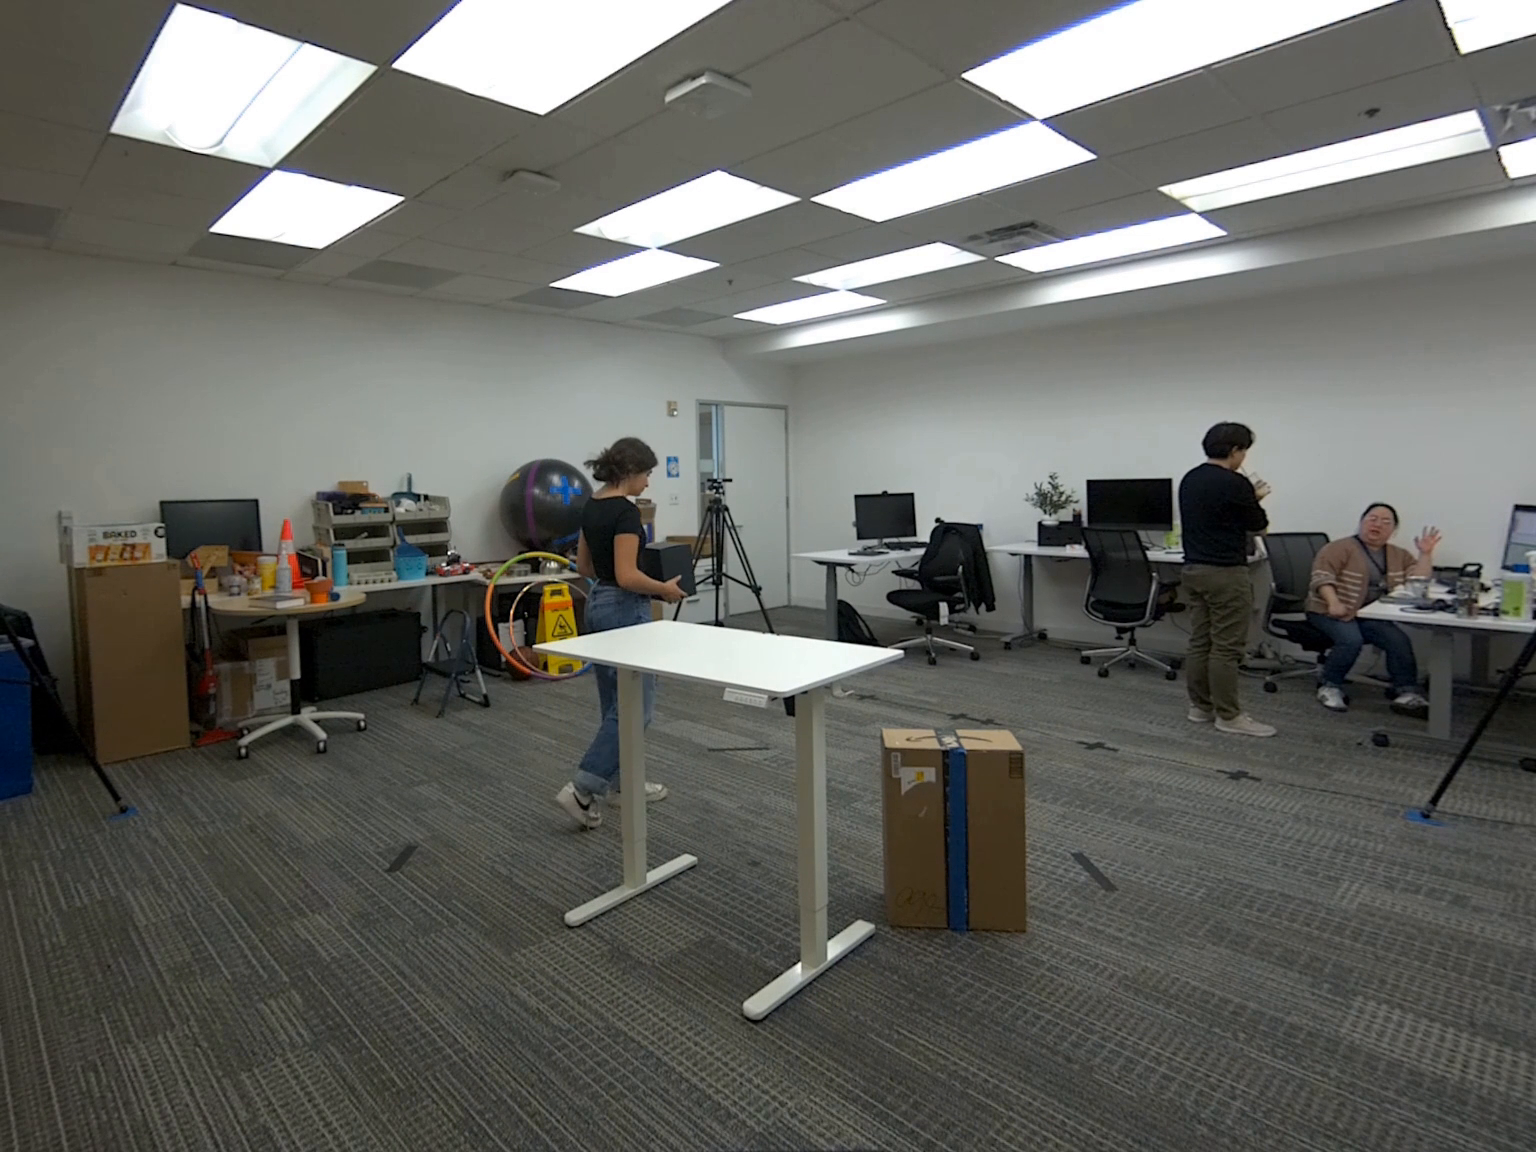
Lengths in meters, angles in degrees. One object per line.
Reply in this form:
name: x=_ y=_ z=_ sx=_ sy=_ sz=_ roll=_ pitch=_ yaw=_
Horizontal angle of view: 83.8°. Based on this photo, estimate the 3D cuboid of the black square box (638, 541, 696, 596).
black square box: x=-0.450 y=-0.028 z=3.723 sx=0.152 sy=0.226 sz=0.223 roll=-9 pitch=9 yaw=-32
